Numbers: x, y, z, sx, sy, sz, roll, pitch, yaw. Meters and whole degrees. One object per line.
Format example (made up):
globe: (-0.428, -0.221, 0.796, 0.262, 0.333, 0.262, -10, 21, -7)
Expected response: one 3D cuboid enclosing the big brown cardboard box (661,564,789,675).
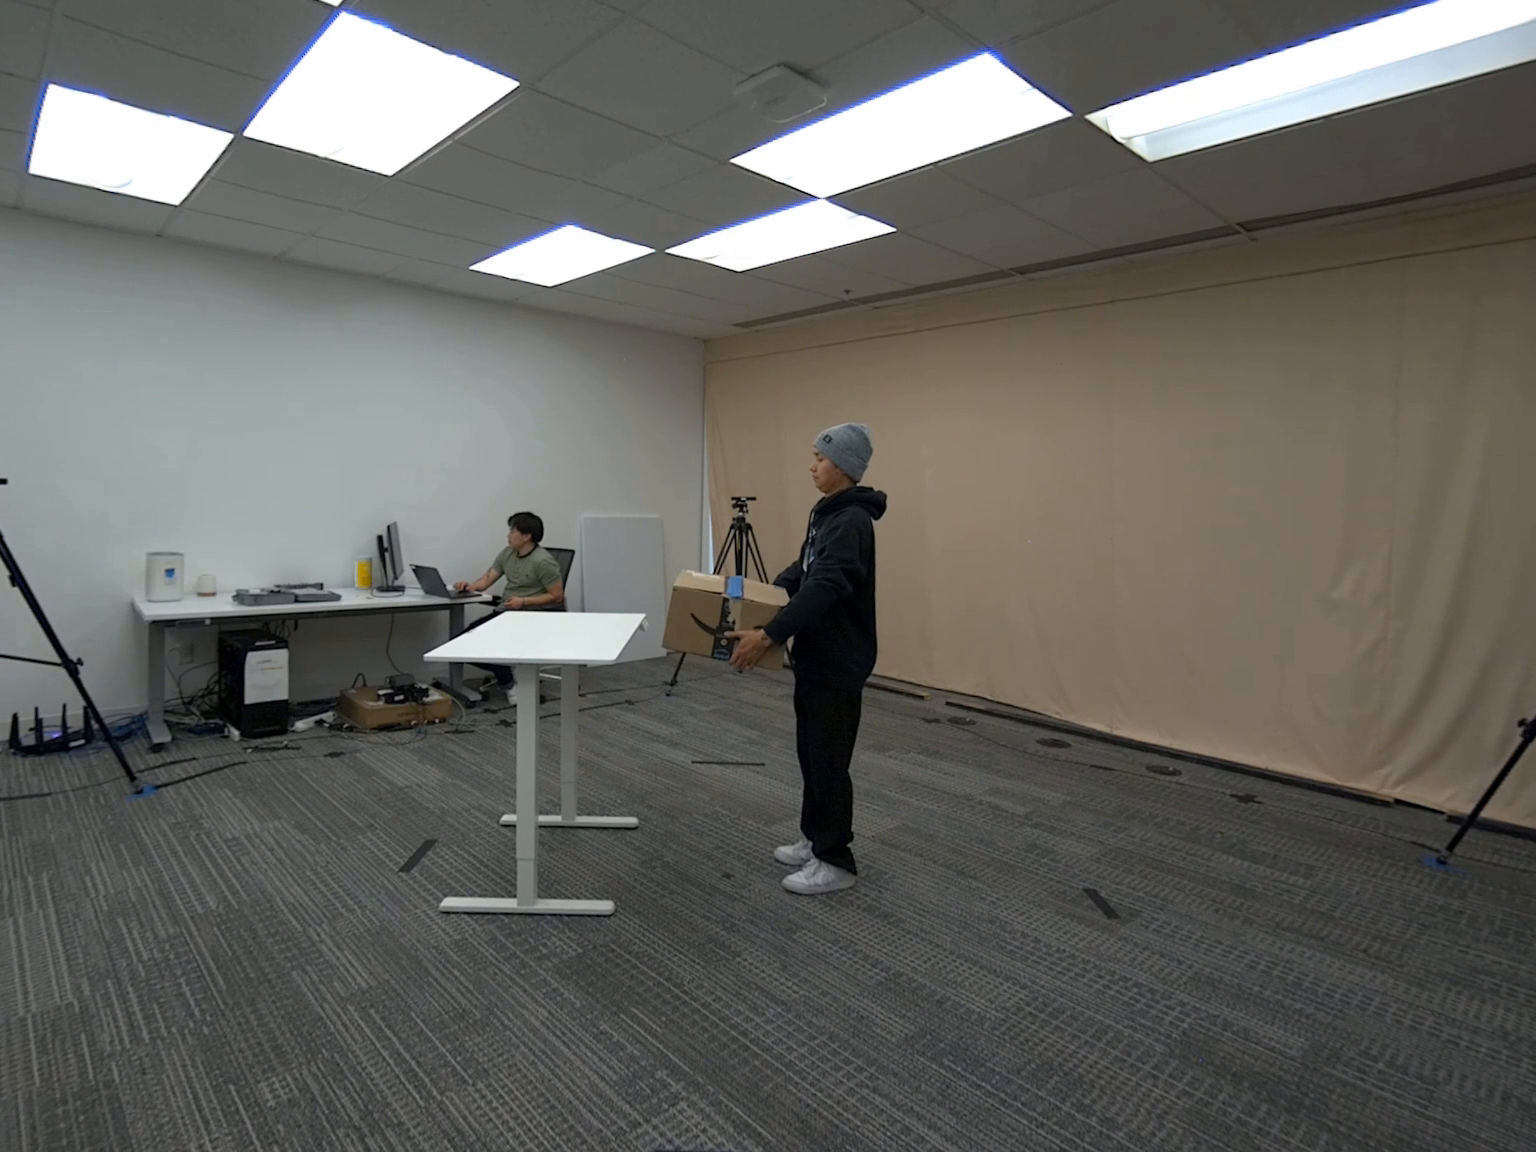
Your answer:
big brown cardboard box: (-0.144, 0.140, 3.095, 0.417, 0.232, 0.592, 10, 7, -3)
